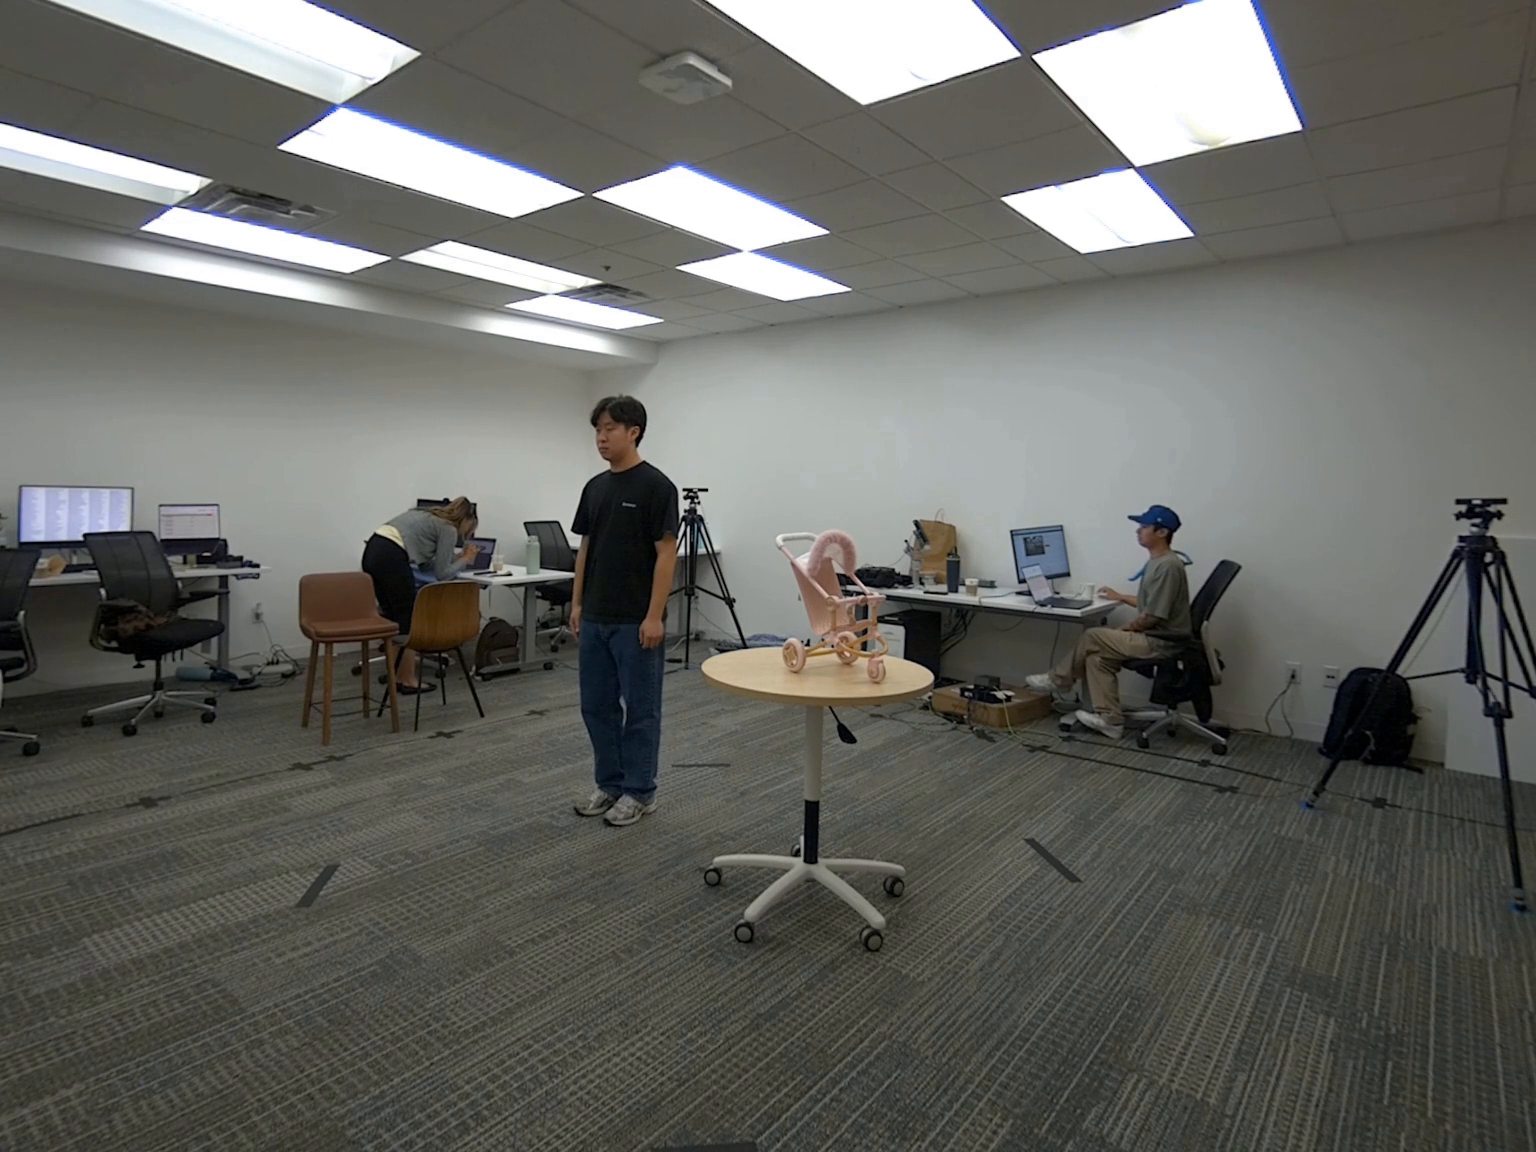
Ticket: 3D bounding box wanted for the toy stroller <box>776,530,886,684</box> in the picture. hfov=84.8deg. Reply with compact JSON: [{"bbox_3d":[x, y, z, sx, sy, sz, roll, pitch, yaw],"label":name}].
[{"bbox_3d":[0.211,0.088,2.792,0.273,0.540,0.348,-2,-10,-34],"label":"toy stroller"}]
